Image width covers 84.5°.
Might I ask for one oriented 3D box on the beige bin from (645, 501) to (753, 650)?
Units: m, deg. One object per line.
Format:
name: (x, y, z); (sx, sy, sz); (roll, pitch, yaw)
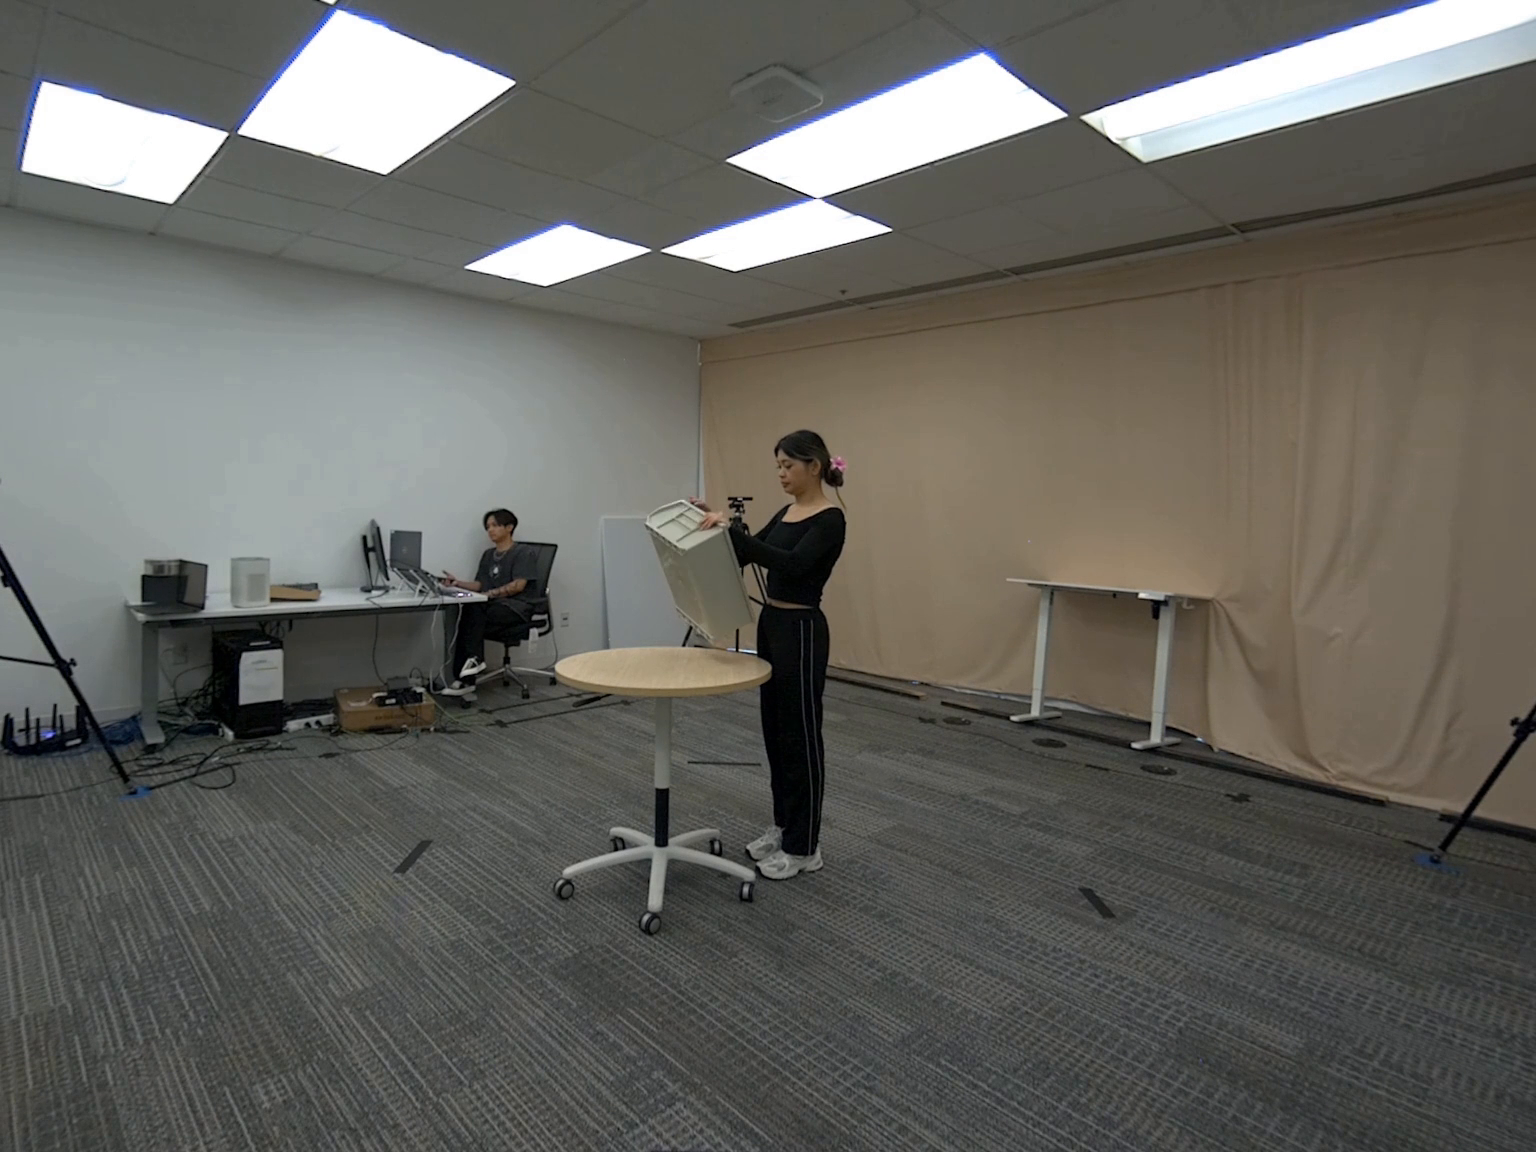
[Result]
beige bin: (-0.270, -0.023, 3.082); (0.188, 0.412, 0.389); (-28, 30, -20)
